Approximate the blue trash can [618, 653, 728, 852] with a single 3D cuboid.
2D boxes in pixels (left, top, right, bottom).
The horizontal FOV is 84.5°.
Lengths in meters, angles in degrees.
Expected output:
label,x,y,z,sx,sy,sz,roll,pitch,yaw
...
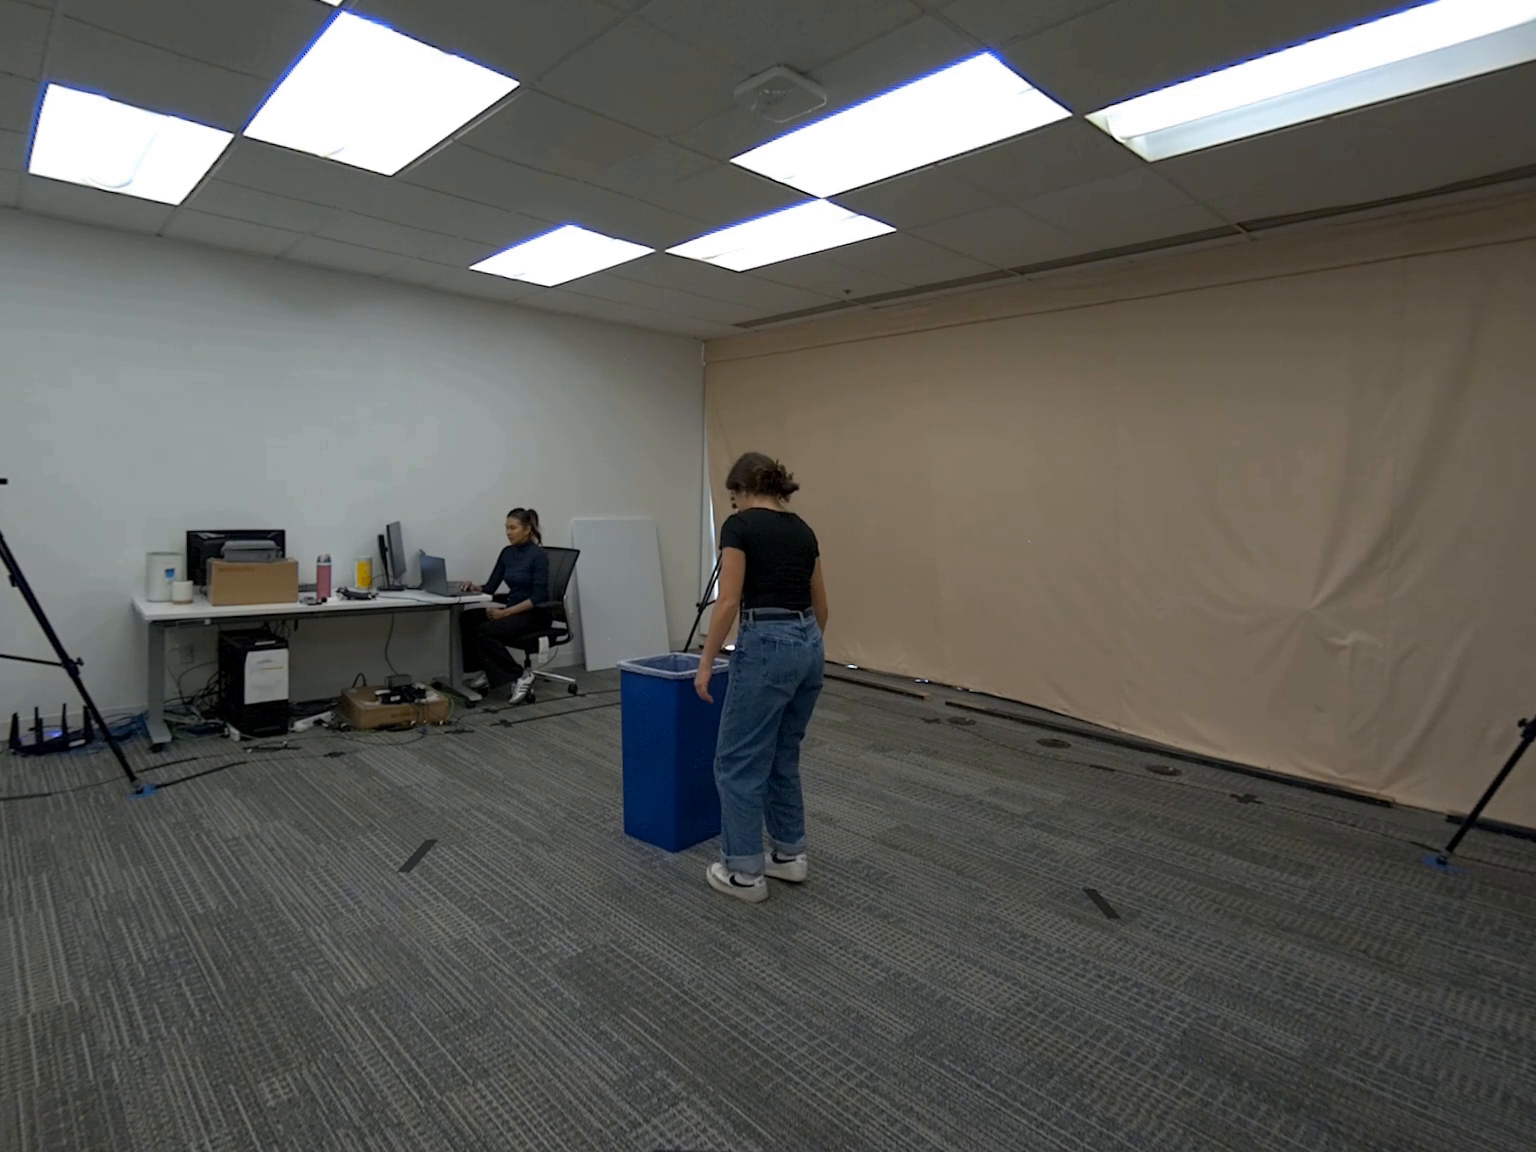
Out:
label,x,y,z,sx,sy,sz,roll,pitch,yaw
blue trash can,-0.397,0.710,3.486,0.383,0.712,0.369,4,4,39
